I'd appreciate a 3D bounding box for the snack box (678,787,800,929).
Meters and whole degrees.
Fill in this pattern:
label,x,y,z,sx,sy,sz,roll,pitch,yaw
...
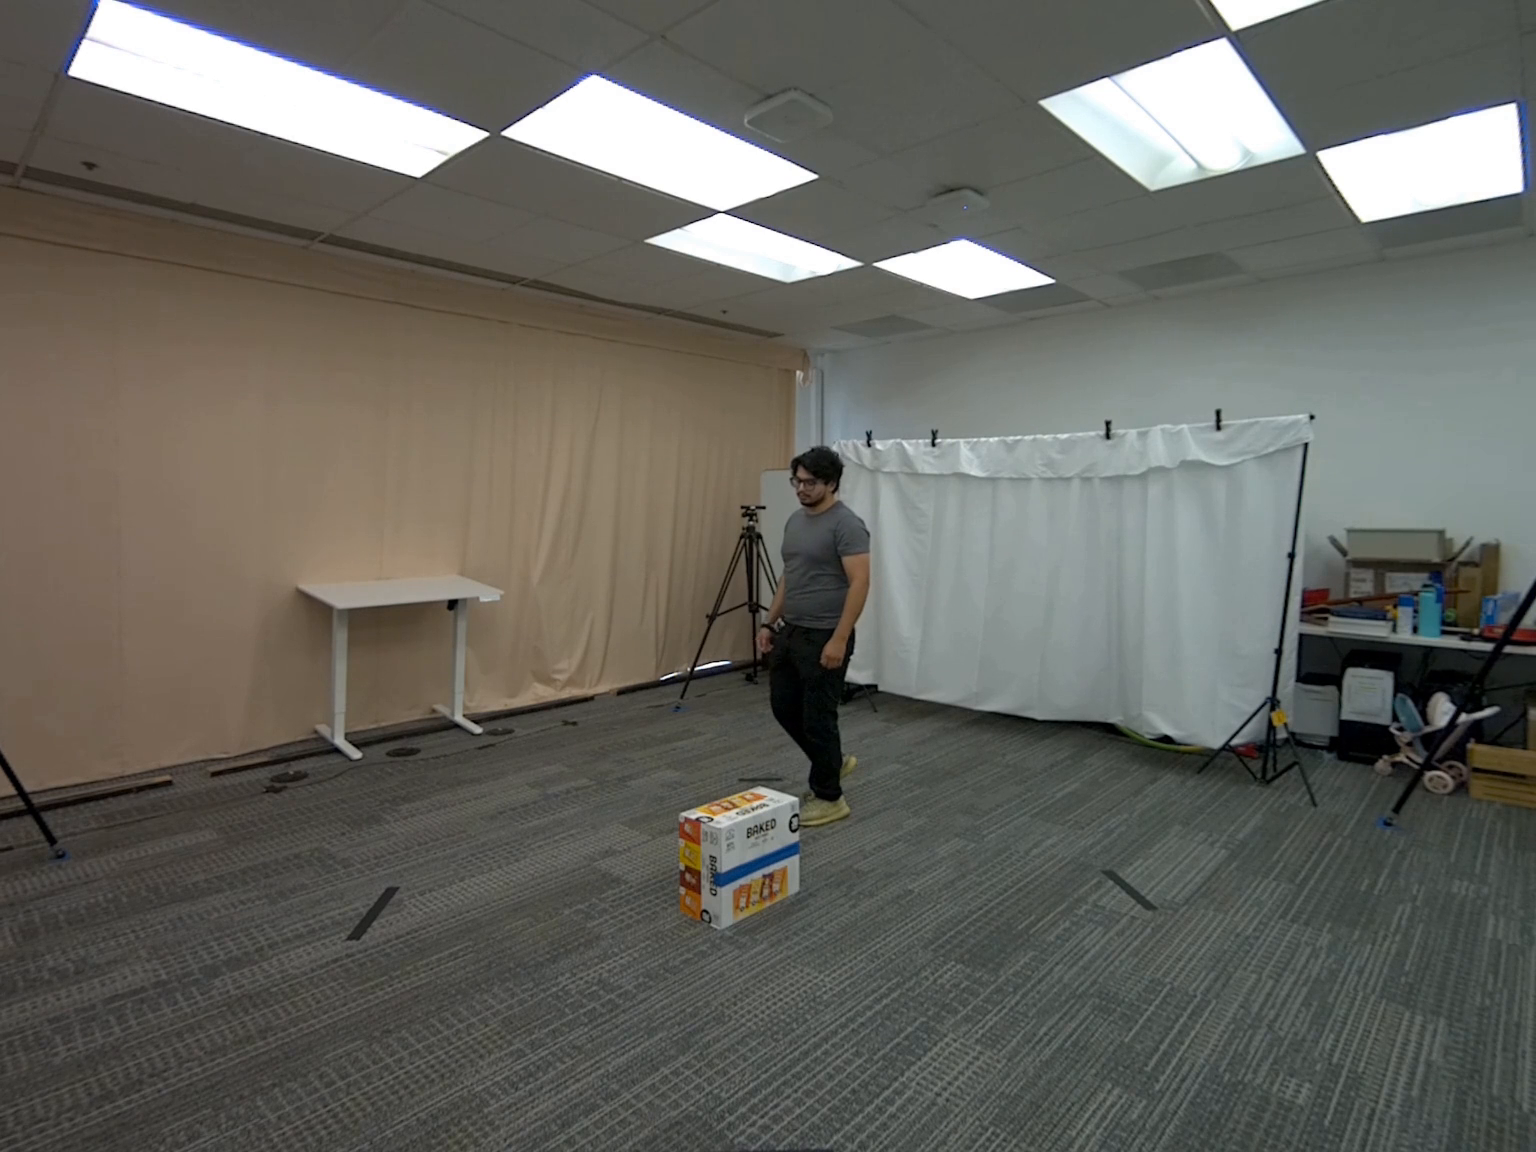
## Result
label,x,y,z,sx,sy,sz,roll,pitch,yaw
snack box,-0.096,0.976,2.962,0.212,0.340,0.393,2,4,44
